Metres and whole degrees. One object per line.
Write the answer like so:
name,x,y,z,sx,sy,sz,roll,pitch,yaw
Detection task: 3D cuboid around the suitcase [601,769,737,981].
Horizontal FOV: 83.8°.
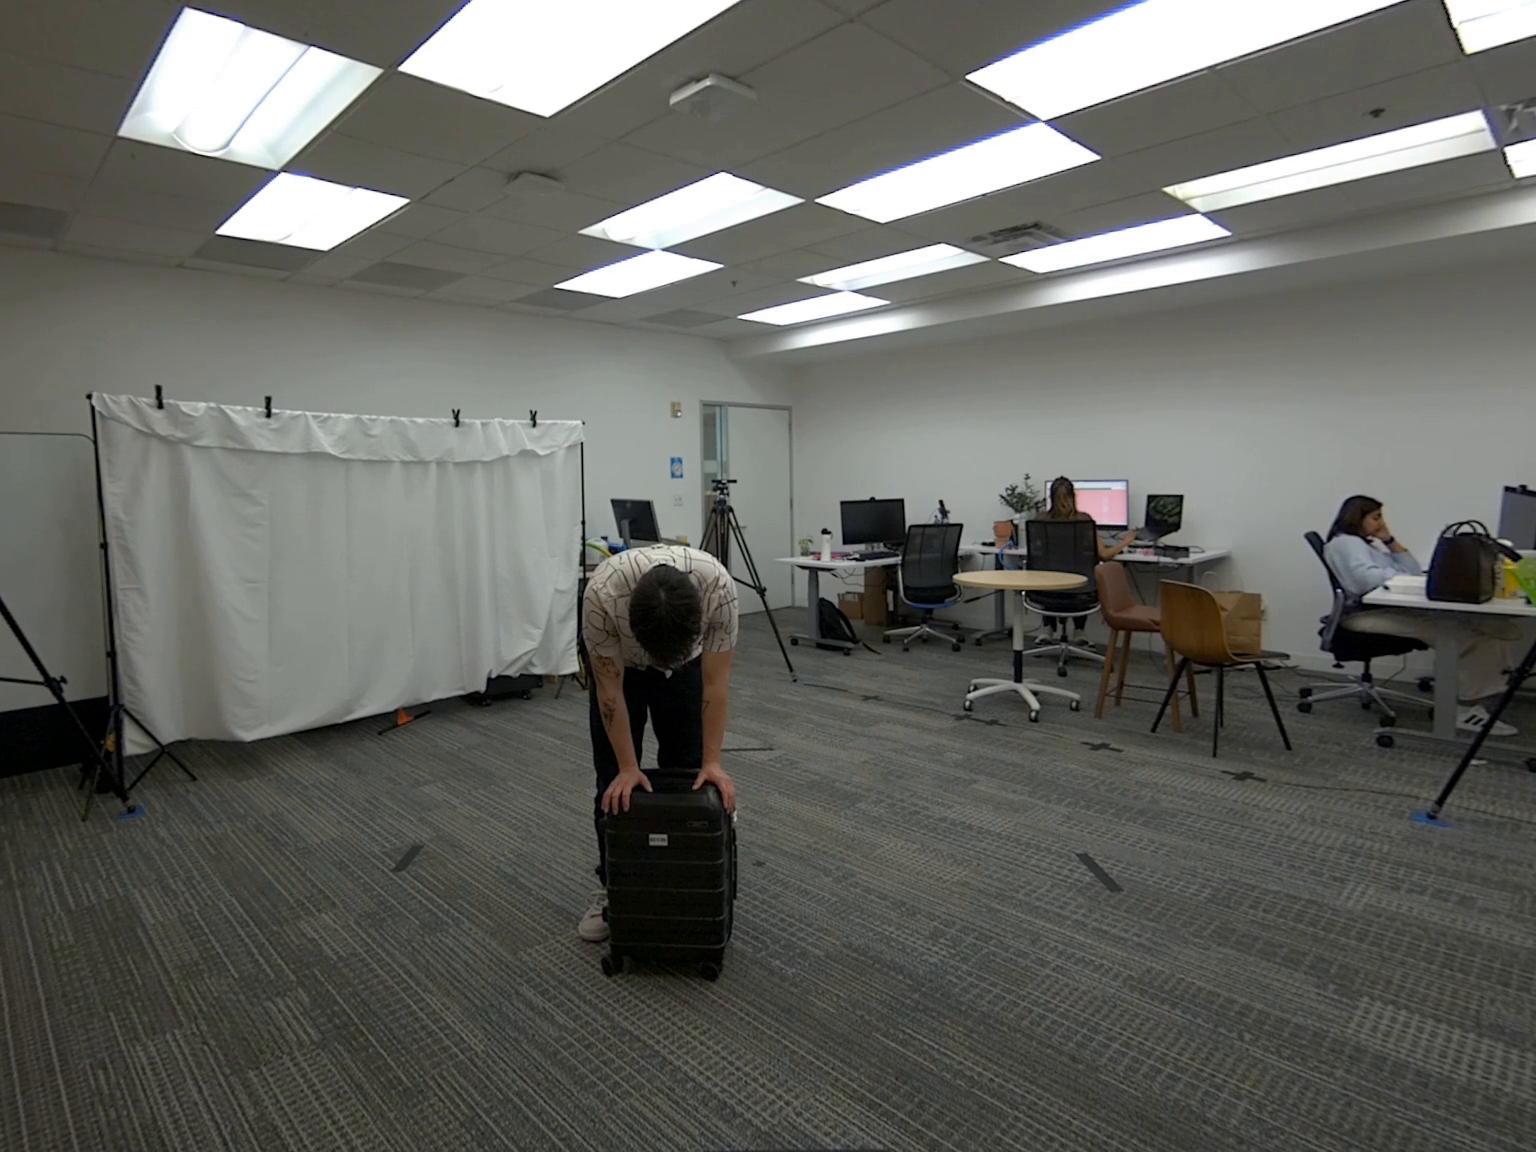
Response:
suitcase,-0.280,0.851,2.495,0.377,0.546,0.248,0,6,4
